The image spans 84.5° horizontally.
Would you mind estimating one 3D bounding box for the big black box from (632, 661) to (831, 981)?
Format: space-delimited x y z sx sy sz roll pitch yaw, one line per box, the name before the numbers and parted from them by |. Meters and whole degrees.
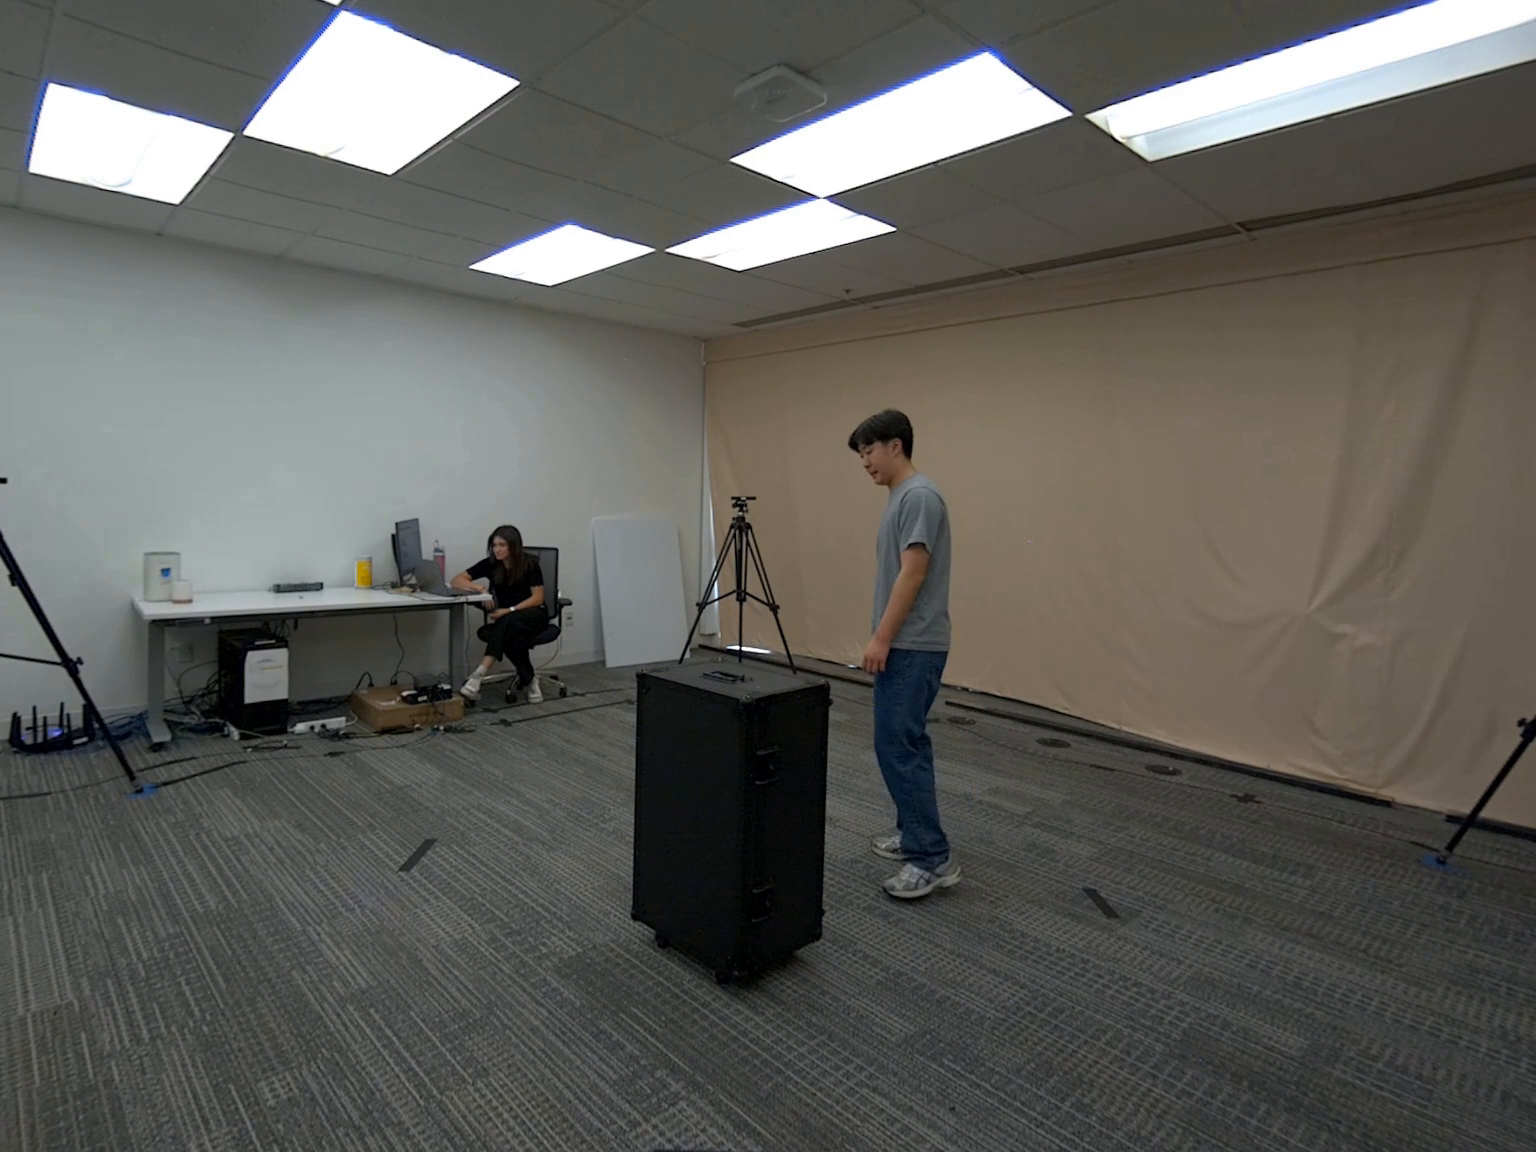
big black box | -0.122 0.729 2.572 0.534 0.860 0.387 5 4 44
